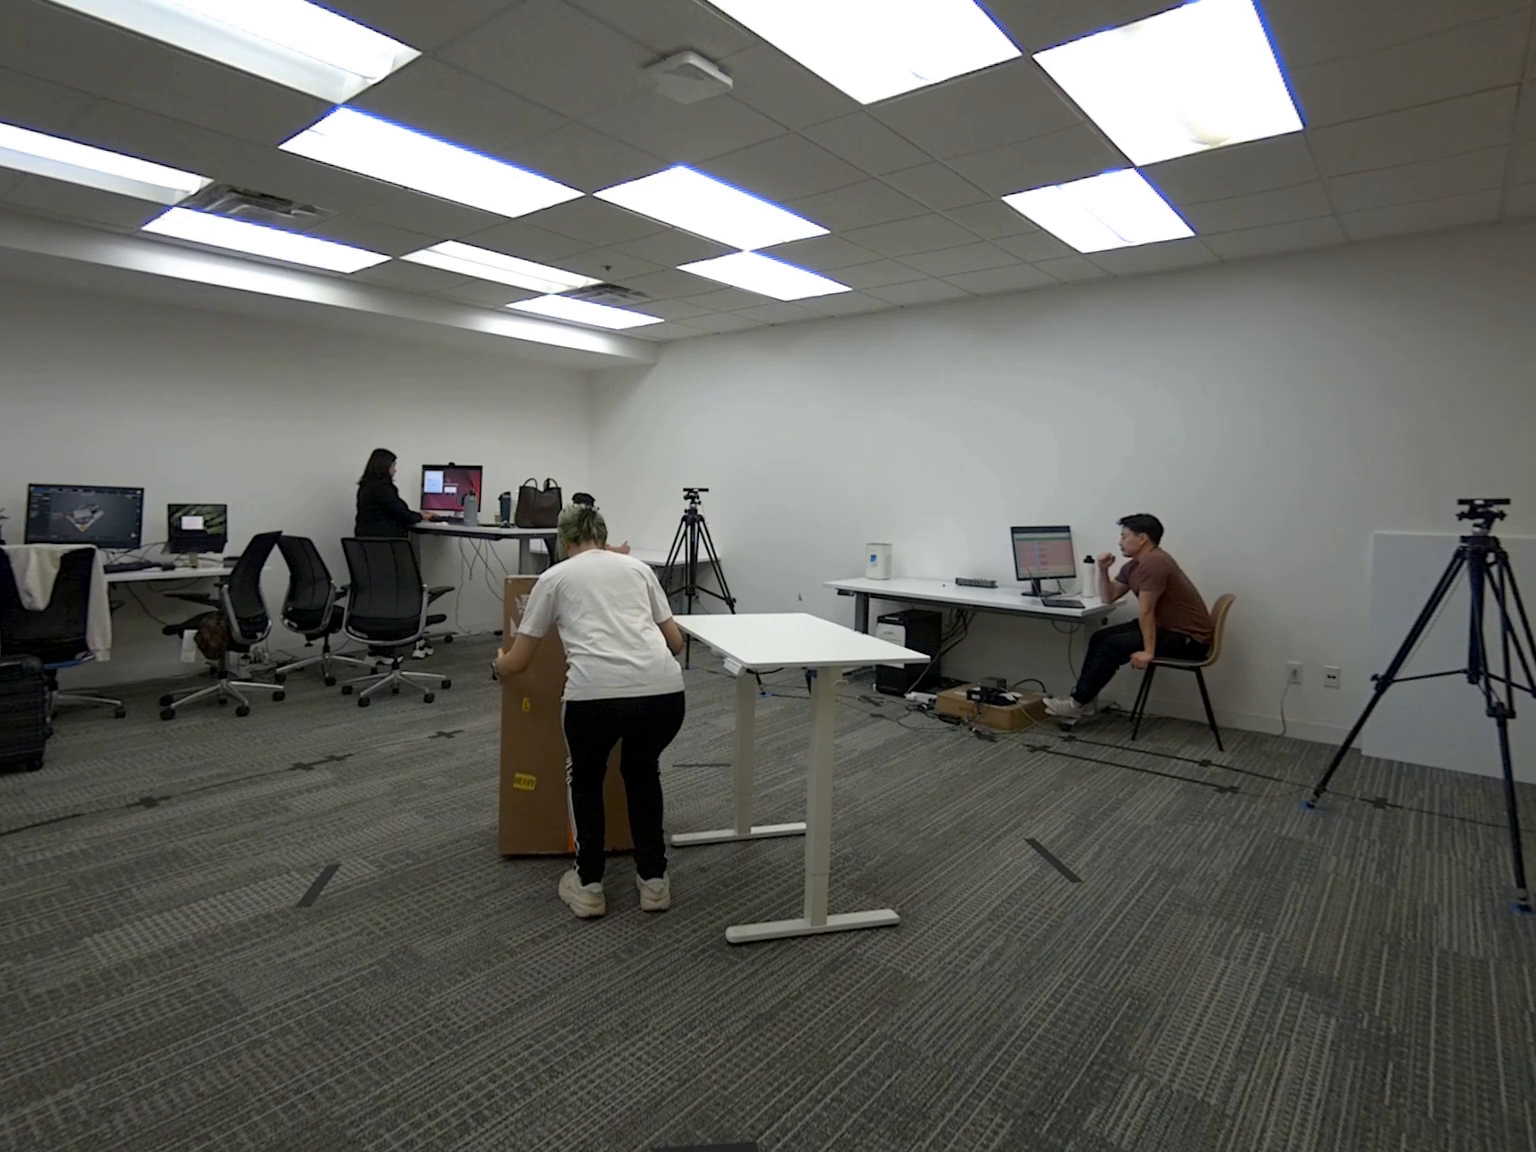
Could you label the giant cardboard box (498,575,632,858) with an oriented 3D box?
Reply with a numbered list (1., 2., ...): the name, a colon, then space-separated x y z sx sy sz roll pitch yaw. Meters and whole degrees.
1. giant cardboard box: -0.767 0.516 3.389 0.577 1.029 0.451 1 -2 -11
